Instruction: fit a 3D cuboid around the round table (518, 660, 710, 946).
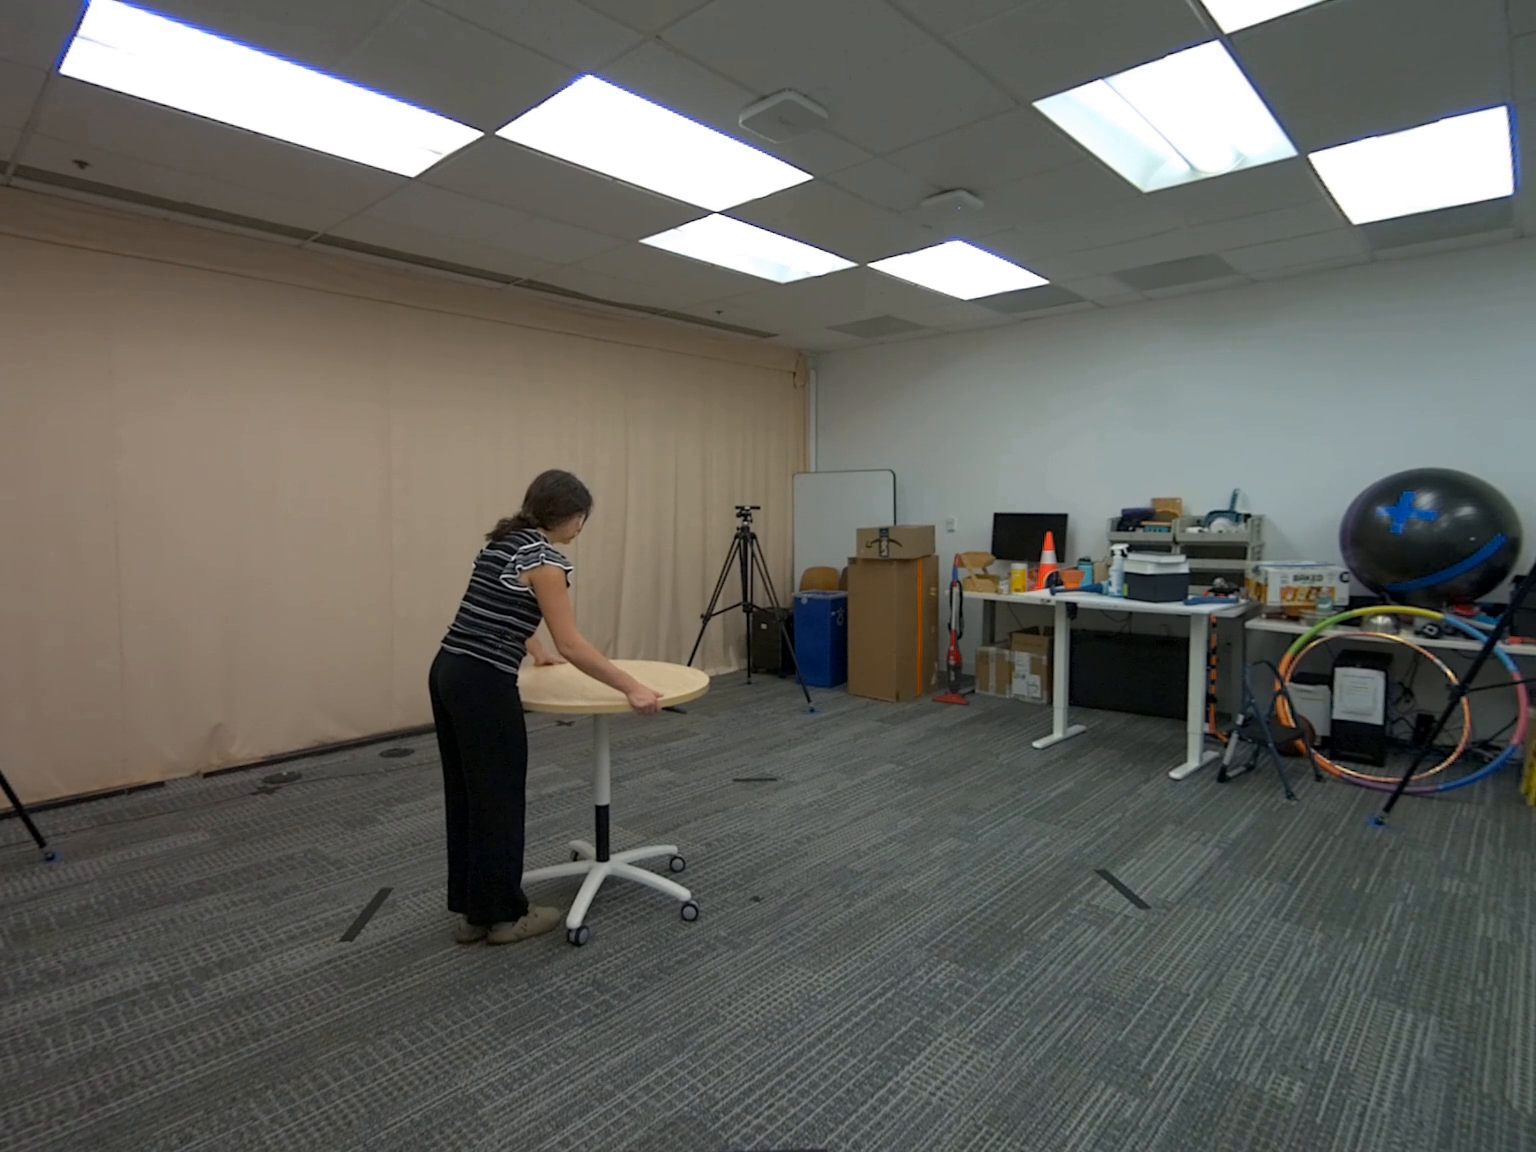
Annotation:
[{"bbox_3d":[-0.577,0.758,2.974,0.763,0.792,0.766,0,3,-2],"label":"round table"}]
